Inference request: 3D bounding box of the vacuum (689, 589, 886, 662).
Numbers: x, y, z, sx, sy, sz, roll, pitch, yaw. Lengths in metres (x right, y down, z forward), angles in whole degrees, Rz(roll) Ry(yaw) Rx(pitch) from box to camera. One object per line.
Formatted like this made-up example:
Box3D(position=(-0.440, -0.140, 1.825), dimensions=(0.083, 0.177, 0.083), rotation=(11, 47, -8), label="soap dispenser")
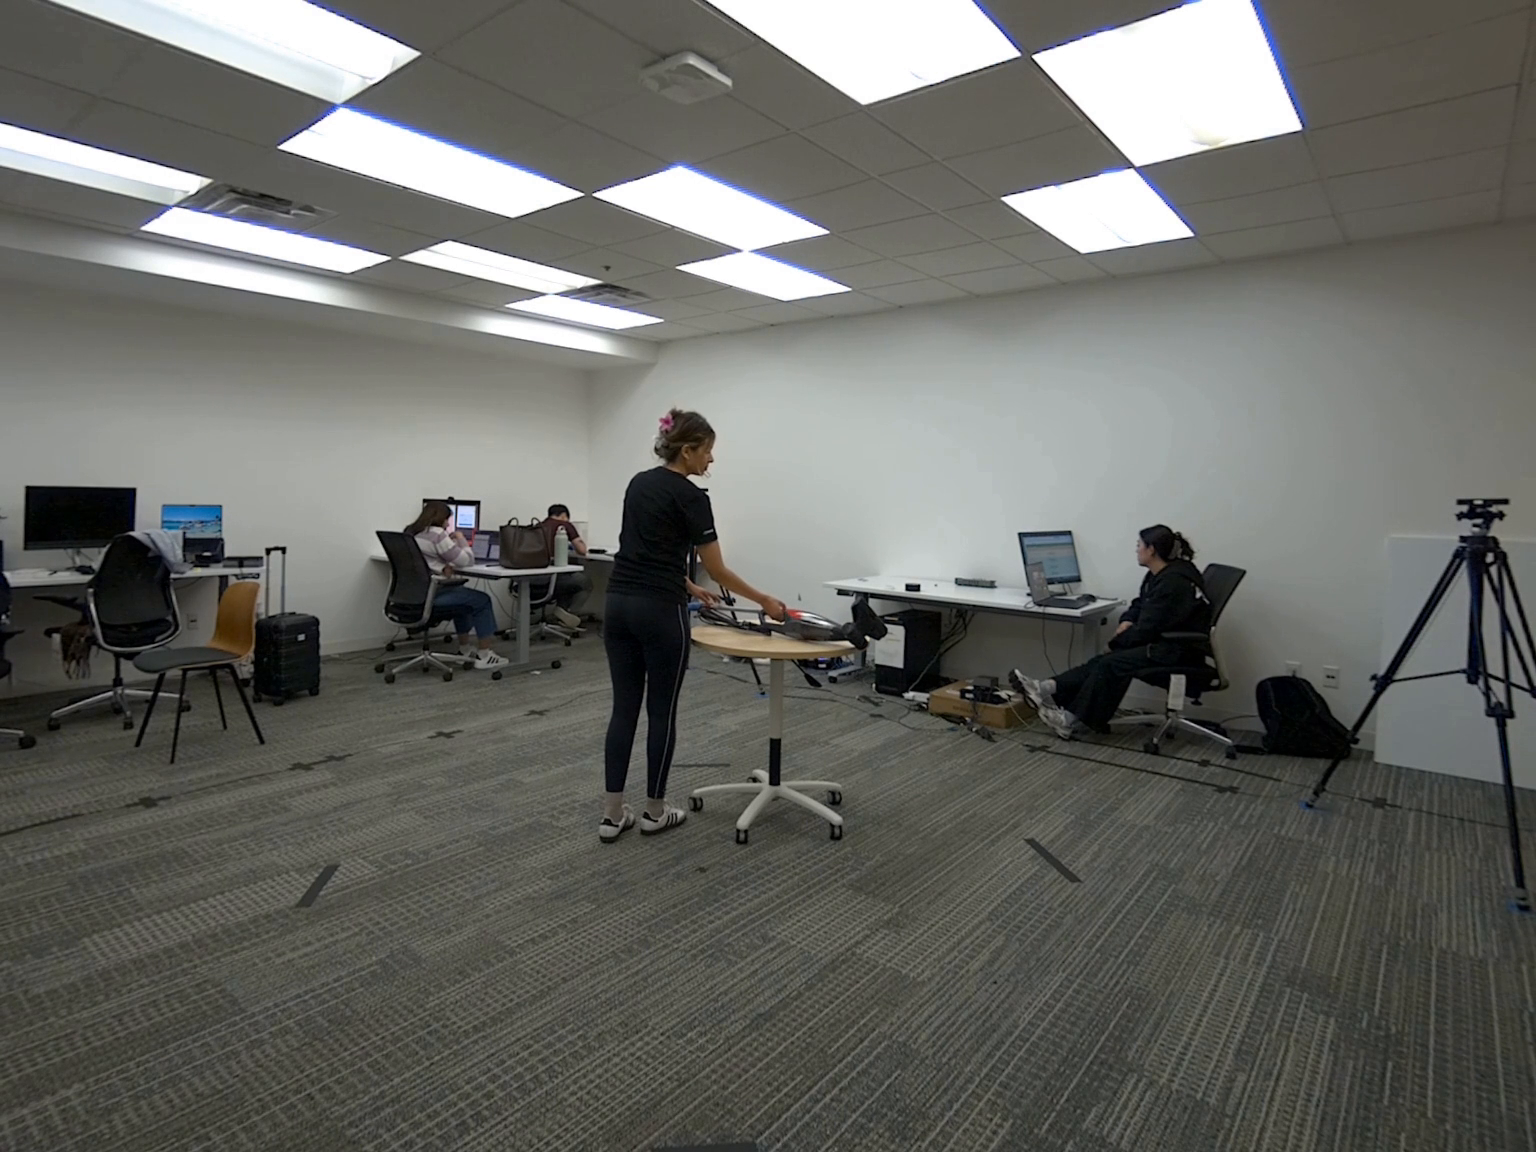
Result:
Box3D(position=(-0.032, 0.195, 3.624), dimensions=(1.083, 0.145, 0.242), rotation=(1, -36, 40), label="vacuum")
